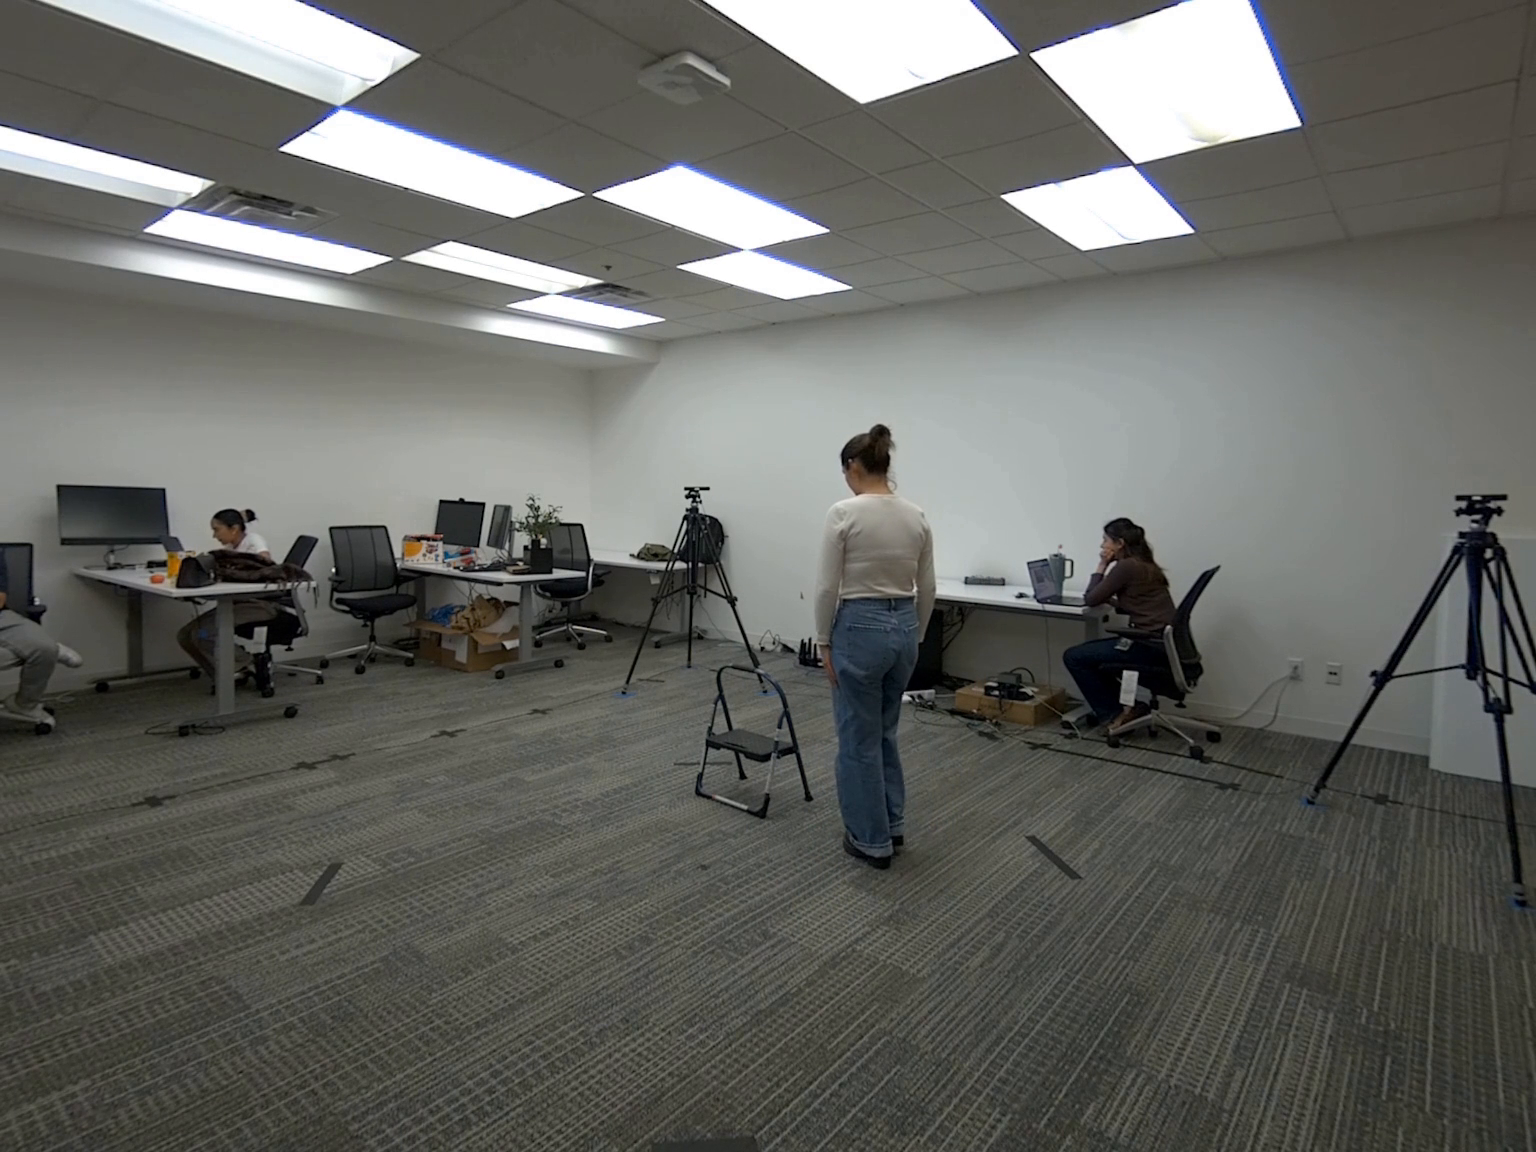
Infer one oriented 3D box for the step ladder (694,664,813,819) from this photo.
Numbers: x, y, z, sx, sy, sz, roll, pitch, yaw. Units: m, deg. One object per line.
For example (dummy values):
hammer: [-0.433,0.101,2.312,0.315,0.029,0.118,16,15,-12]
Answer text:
step ladder: [-0.071,0.692,3.834,0.445,0.605,0.339,3,4,41]
